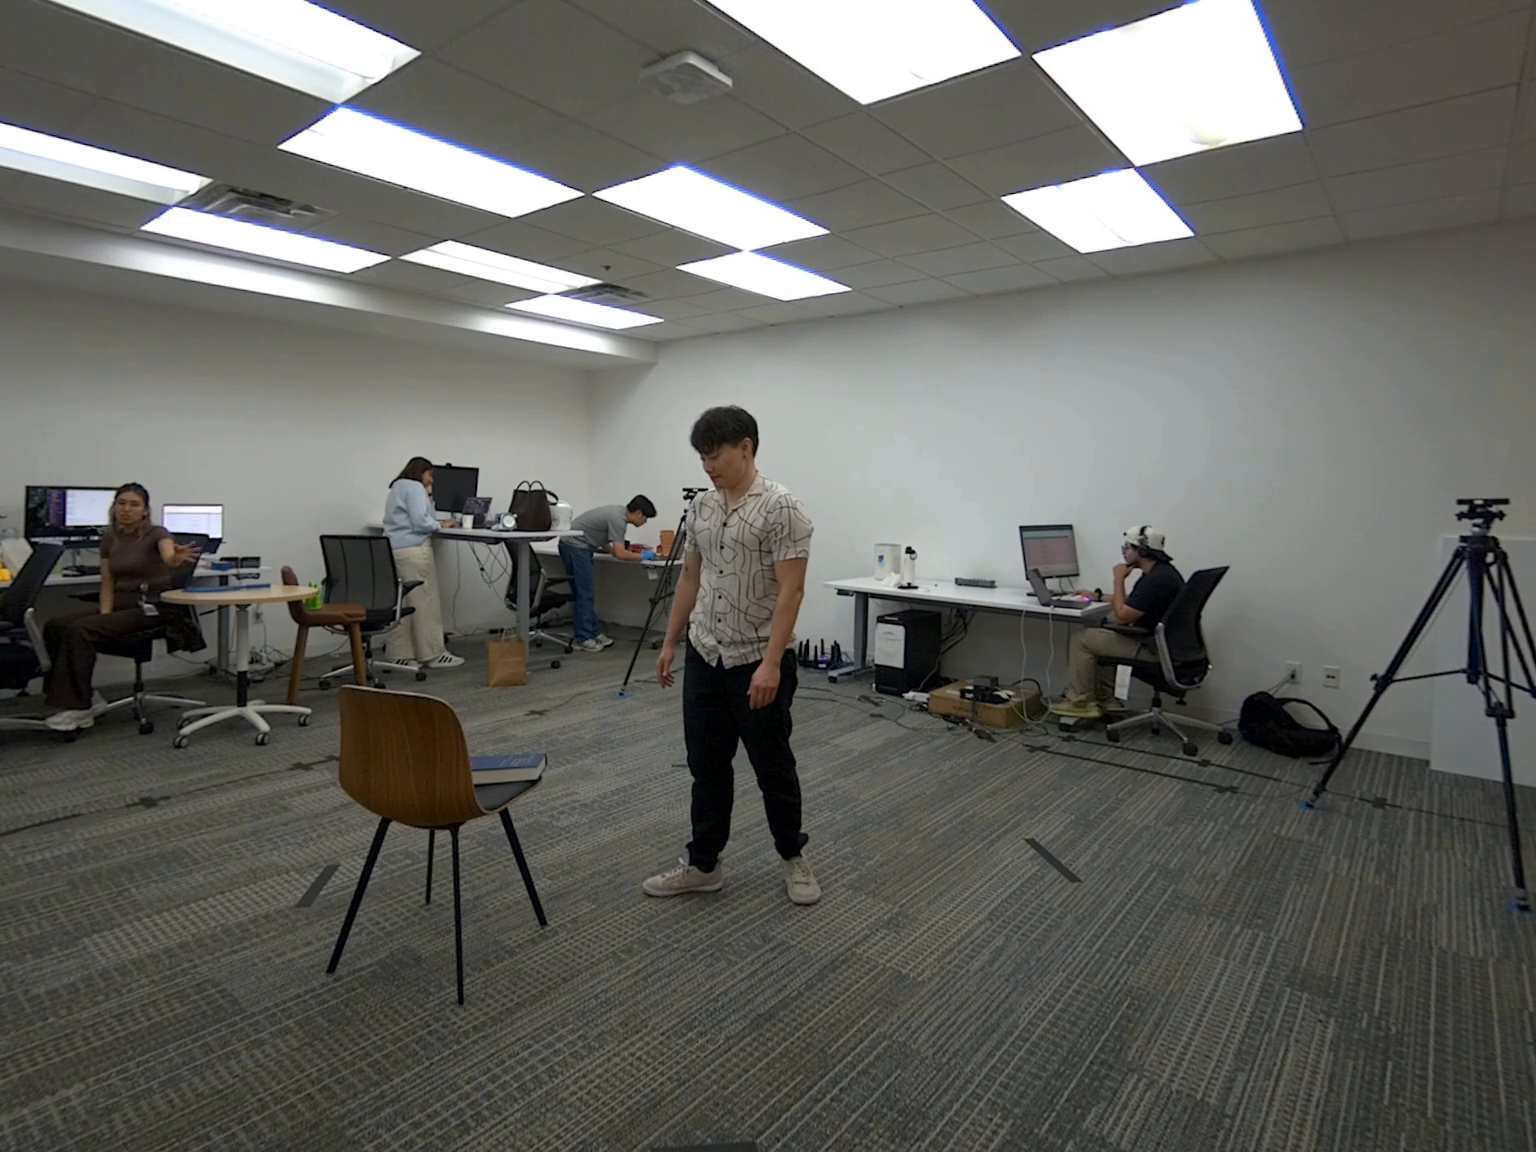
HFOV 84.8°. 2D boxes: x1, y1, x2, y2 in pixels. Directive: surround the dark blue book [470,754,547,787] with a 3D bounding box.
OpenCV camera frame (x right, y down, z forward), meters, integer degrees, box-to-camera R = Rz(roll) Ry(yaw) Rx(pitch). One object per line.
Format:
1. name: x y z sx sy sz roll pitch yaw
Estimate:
1. dark blue book: -0.835 0.596 2.645 0.245 0.045 0.164 -2 3 -2
